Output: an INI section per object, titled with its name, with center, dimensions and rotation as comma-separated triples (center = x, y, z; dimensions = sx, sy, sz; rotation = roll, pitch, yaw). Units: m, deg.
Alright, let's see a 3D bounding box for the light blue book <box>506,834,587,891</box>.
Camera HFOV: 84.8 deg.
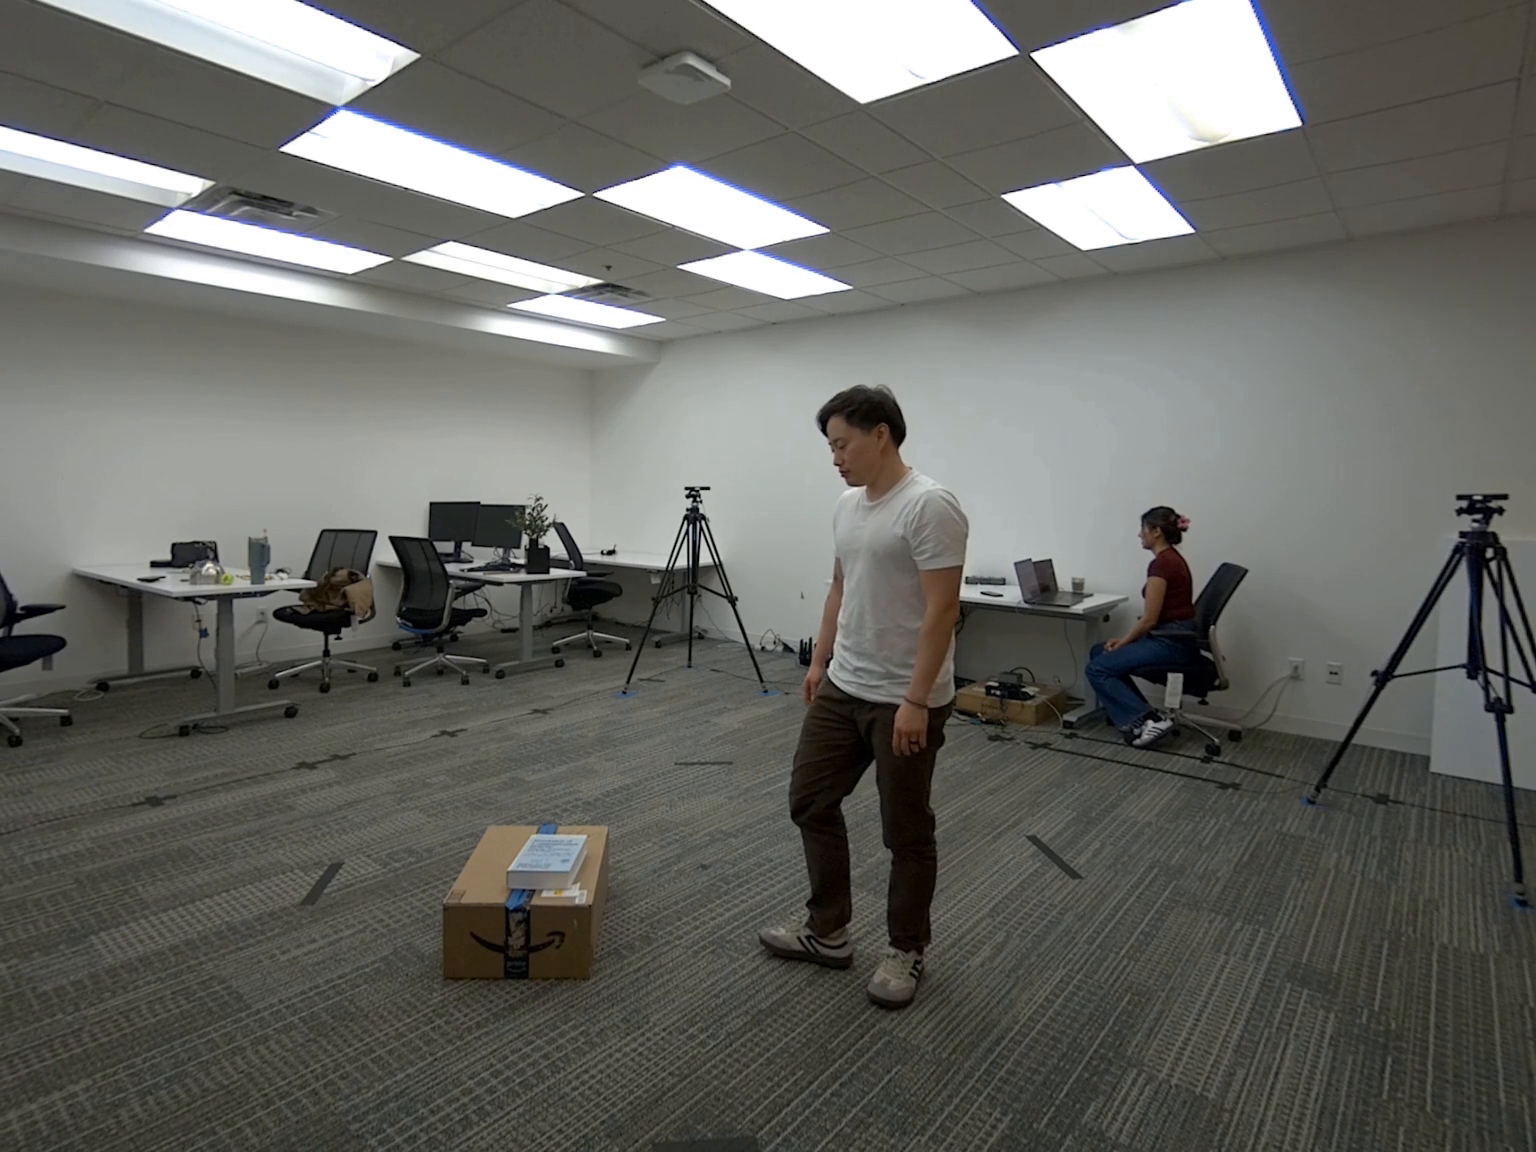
[light blue book]
center = -0.688, 0.874, 2.611
dimensions = 0.192, 0.059, 0.261
rotation = 0, 5, 1
